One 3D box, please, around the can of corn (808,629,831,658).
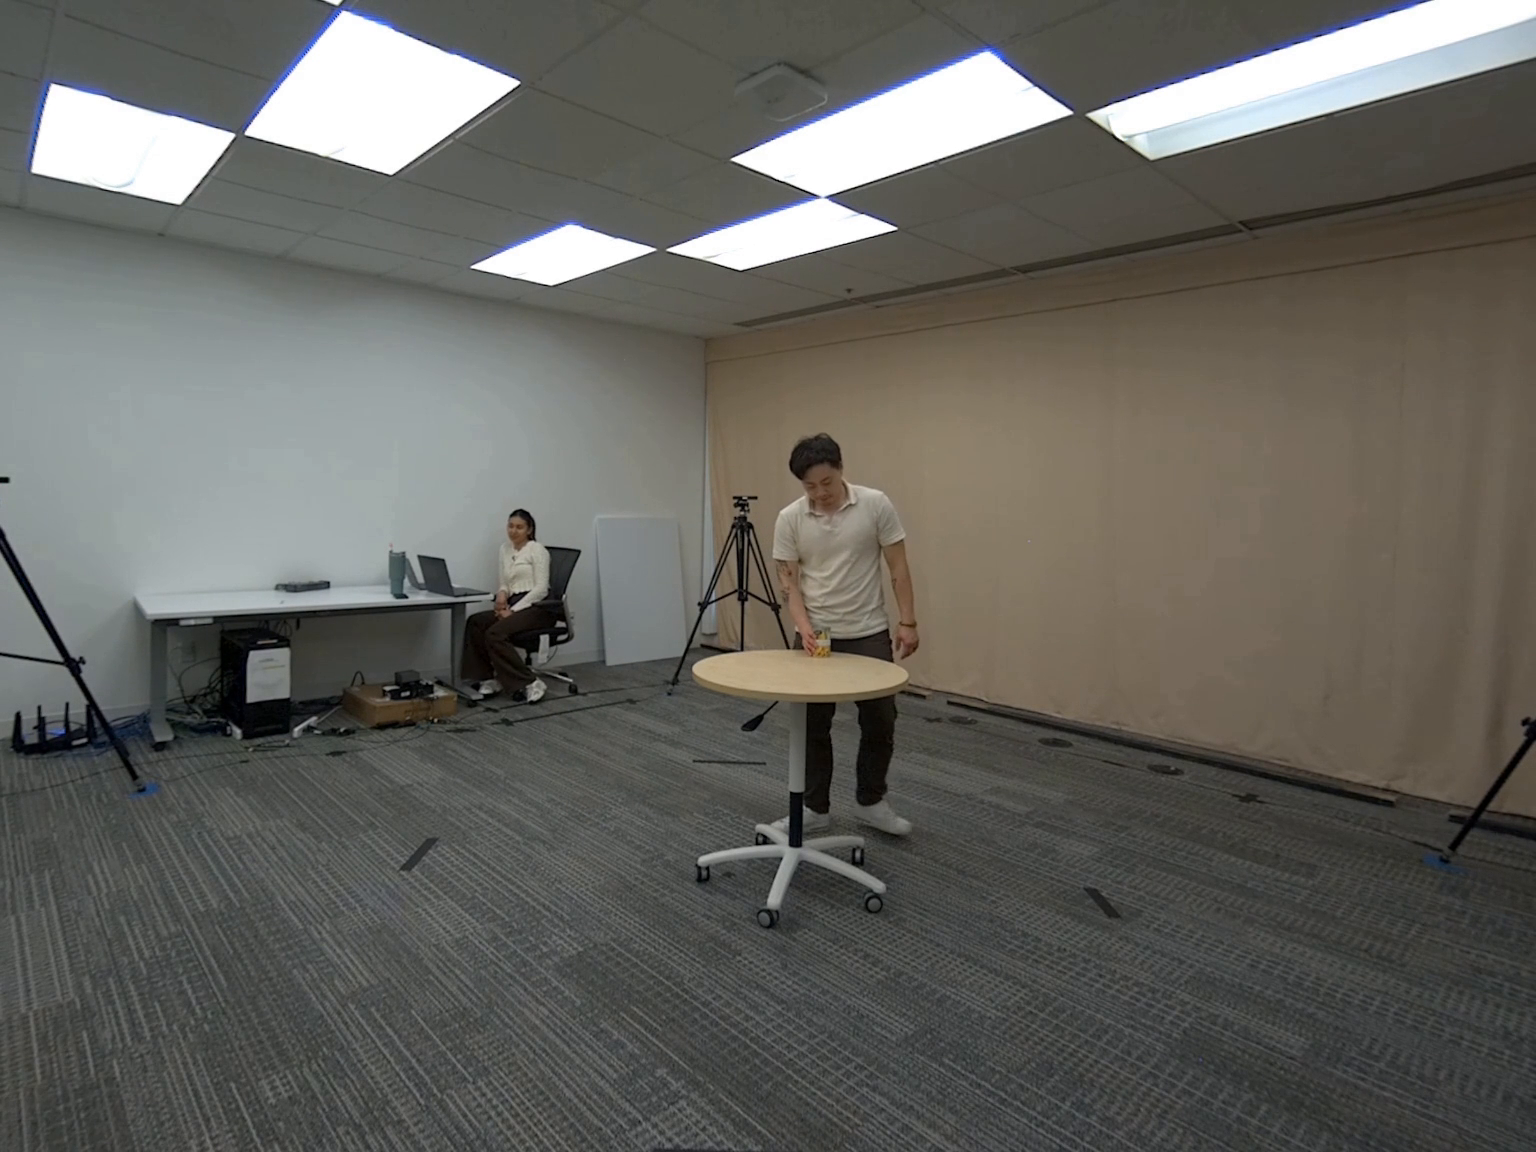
[{"bbox_3d":[0.186,0.256,3.270,0.074,0.111,0.074,1,1,-1],"label":"can of corn"}]
